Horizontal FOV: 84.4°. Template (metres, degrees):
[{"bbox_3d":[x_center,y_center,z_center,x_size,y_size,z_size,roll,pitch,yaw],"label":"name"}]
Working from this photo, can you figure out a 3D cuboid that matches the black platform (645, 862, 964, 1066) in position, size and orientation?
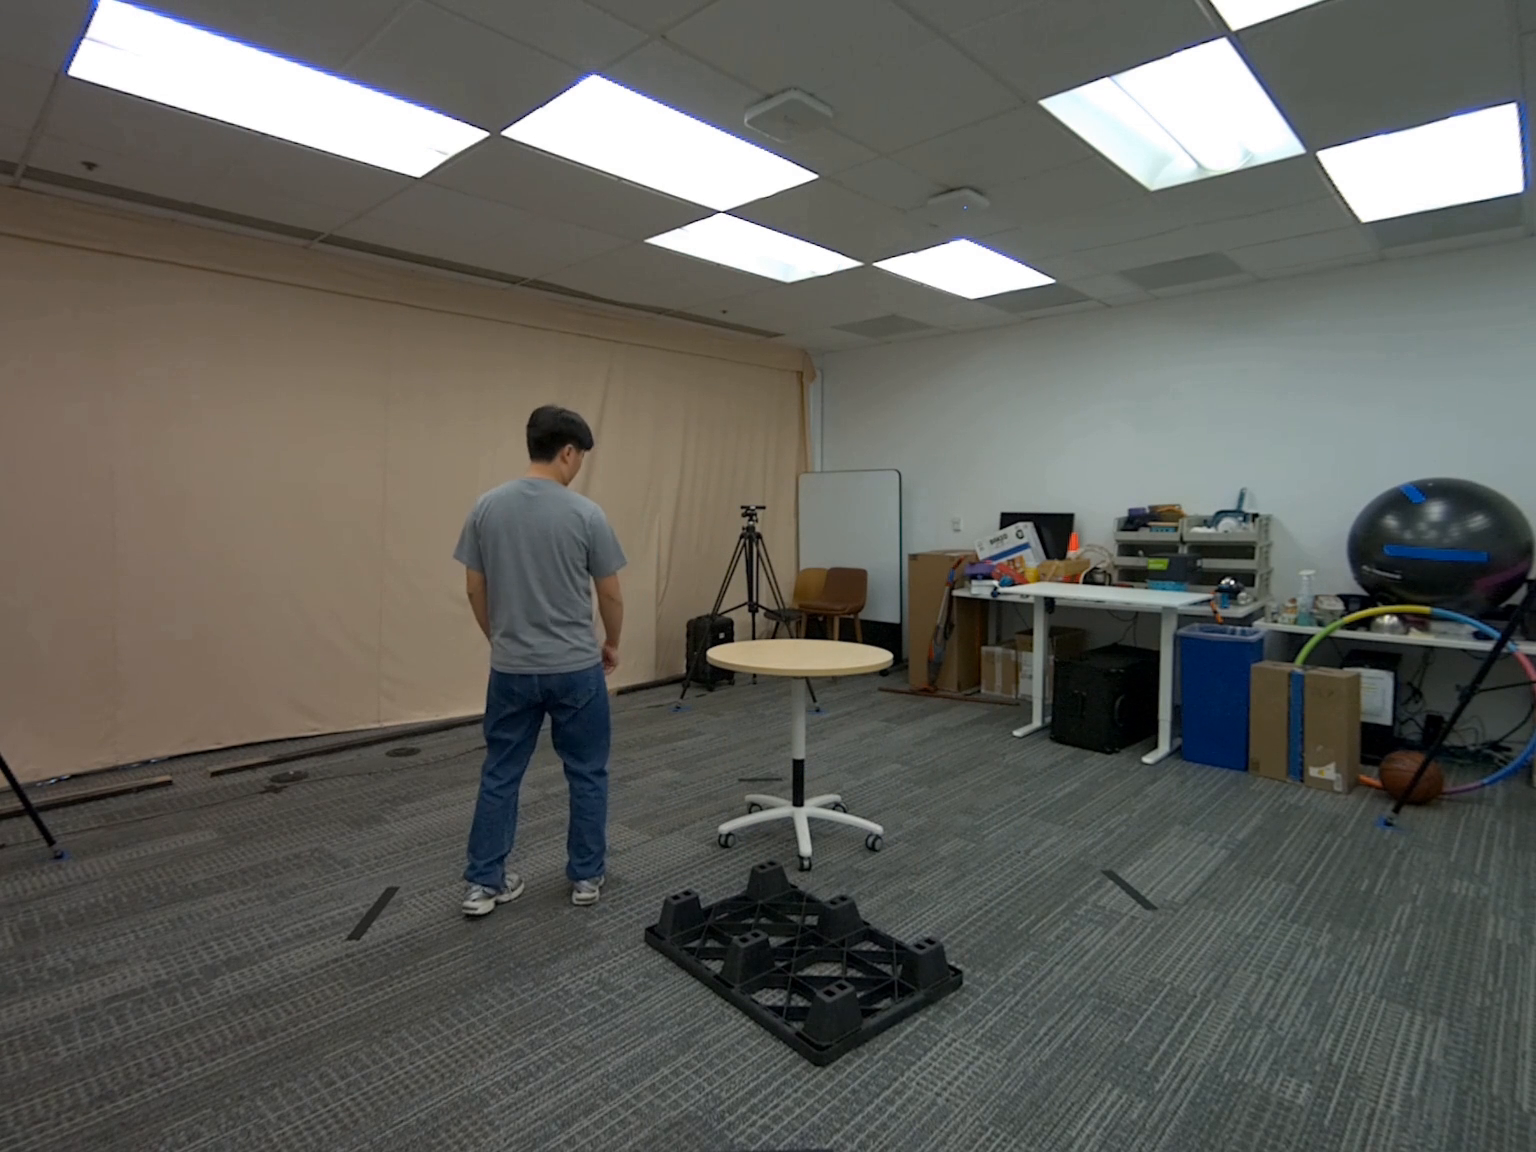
[{"bbox_3d":[0.095,1.113,2.566,0.587,0.143,0.832,-5,7,-40],"label":"black platform"}]
